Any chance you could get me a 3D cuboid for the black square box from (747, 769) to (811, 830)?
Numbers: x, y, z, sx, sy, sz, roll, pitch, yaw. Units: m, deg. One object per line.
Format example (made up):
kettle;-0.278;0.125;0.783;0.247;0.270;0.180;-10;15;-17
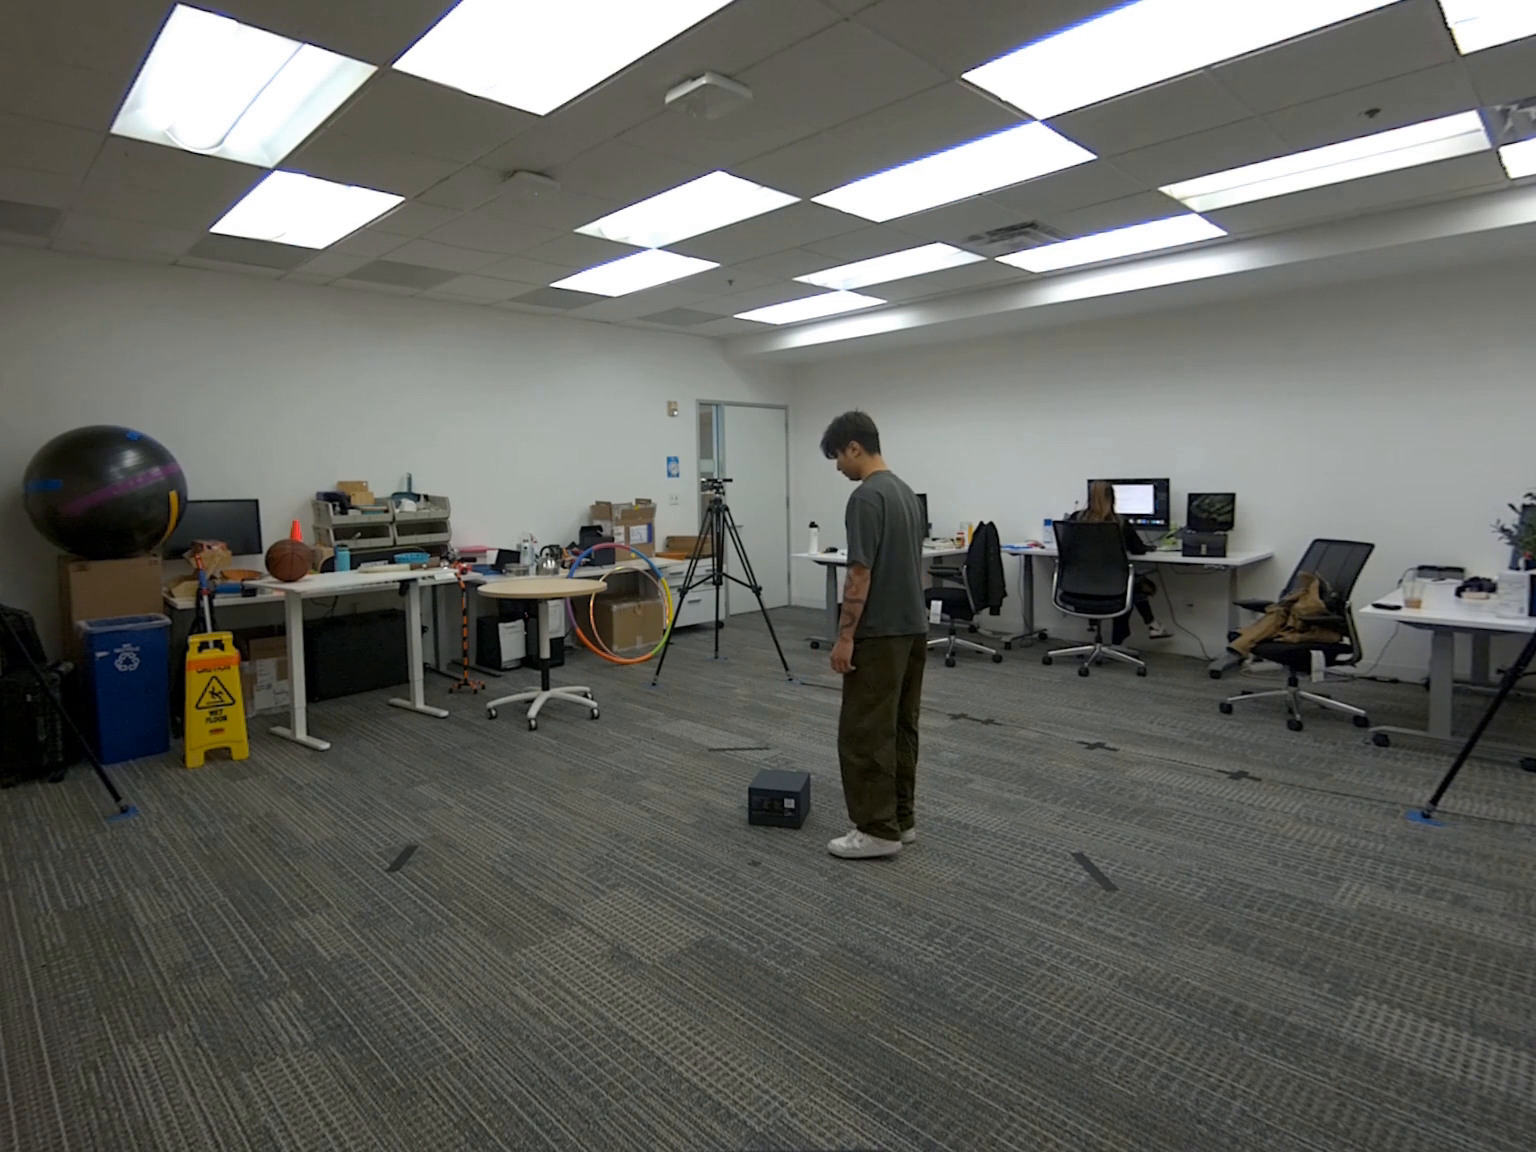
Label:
black square box;0.049;0.910;3.528;0.220;0.155;0.225;0;6;15
